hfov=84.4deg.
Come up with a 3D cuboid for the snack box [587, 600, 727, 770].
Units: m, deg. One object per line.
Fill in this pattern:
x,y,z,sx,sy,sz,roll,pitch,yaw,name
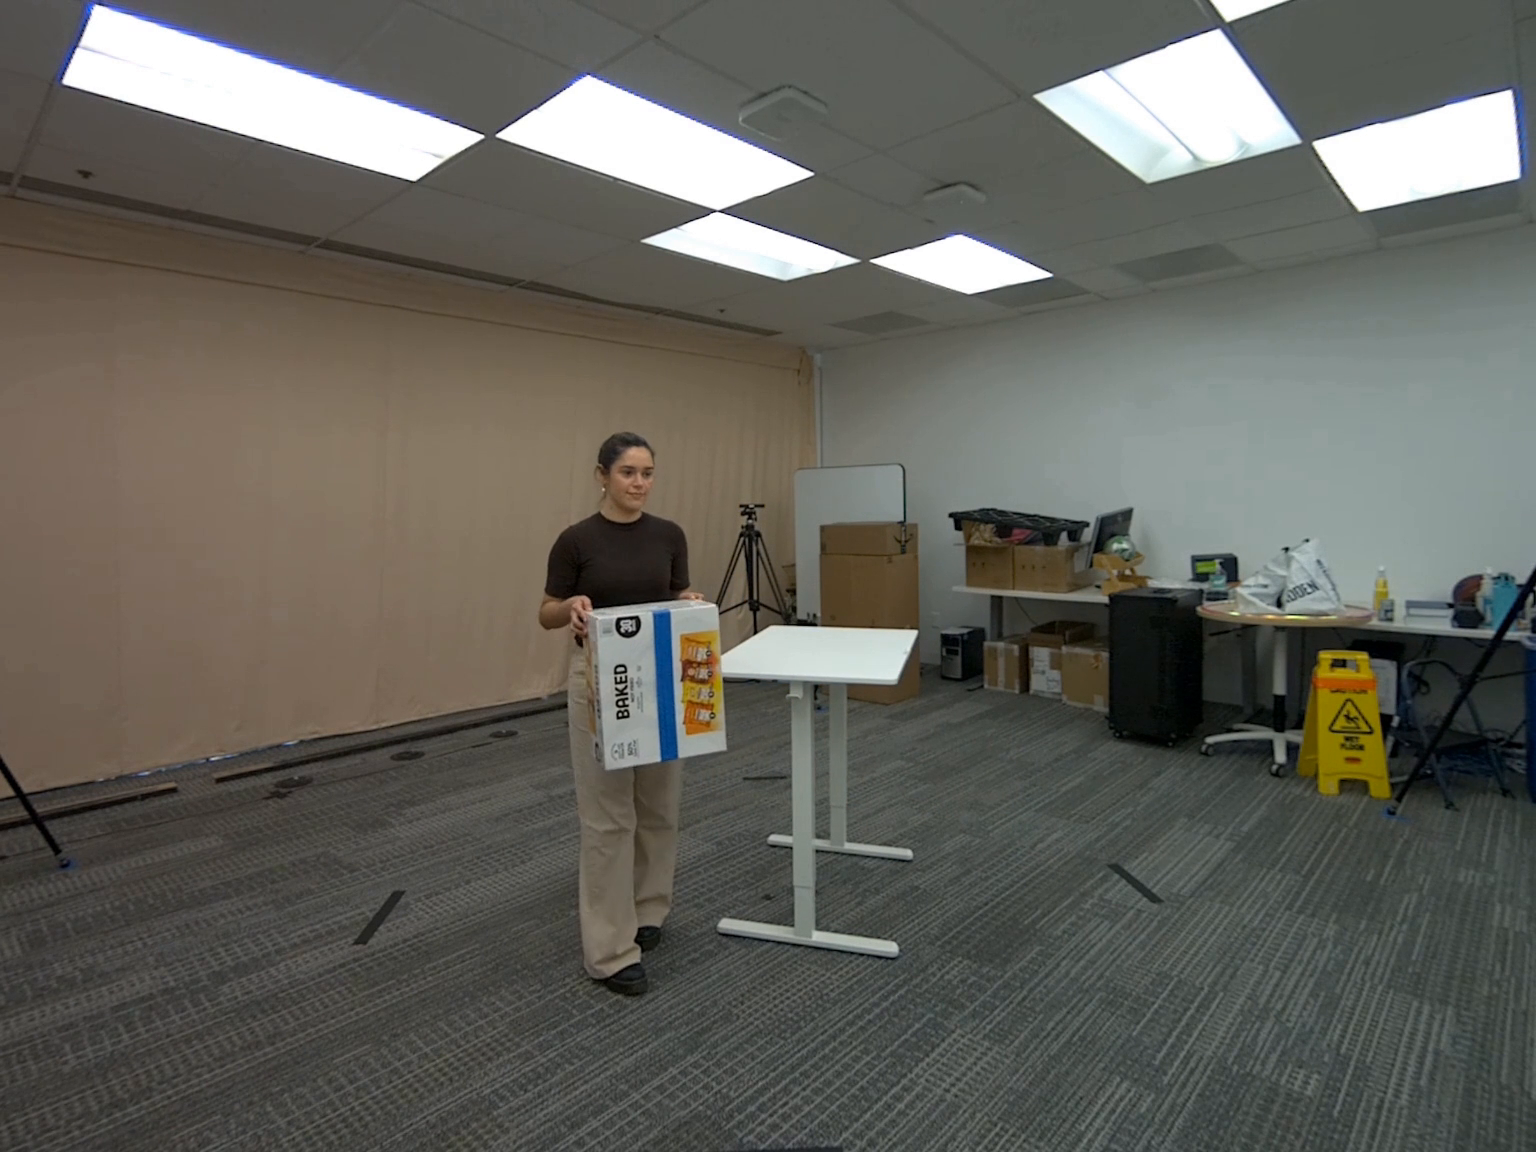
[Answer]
-0.319,0.285,2.330,0.333,0.404,0.210,-5,4,-22,snack box
